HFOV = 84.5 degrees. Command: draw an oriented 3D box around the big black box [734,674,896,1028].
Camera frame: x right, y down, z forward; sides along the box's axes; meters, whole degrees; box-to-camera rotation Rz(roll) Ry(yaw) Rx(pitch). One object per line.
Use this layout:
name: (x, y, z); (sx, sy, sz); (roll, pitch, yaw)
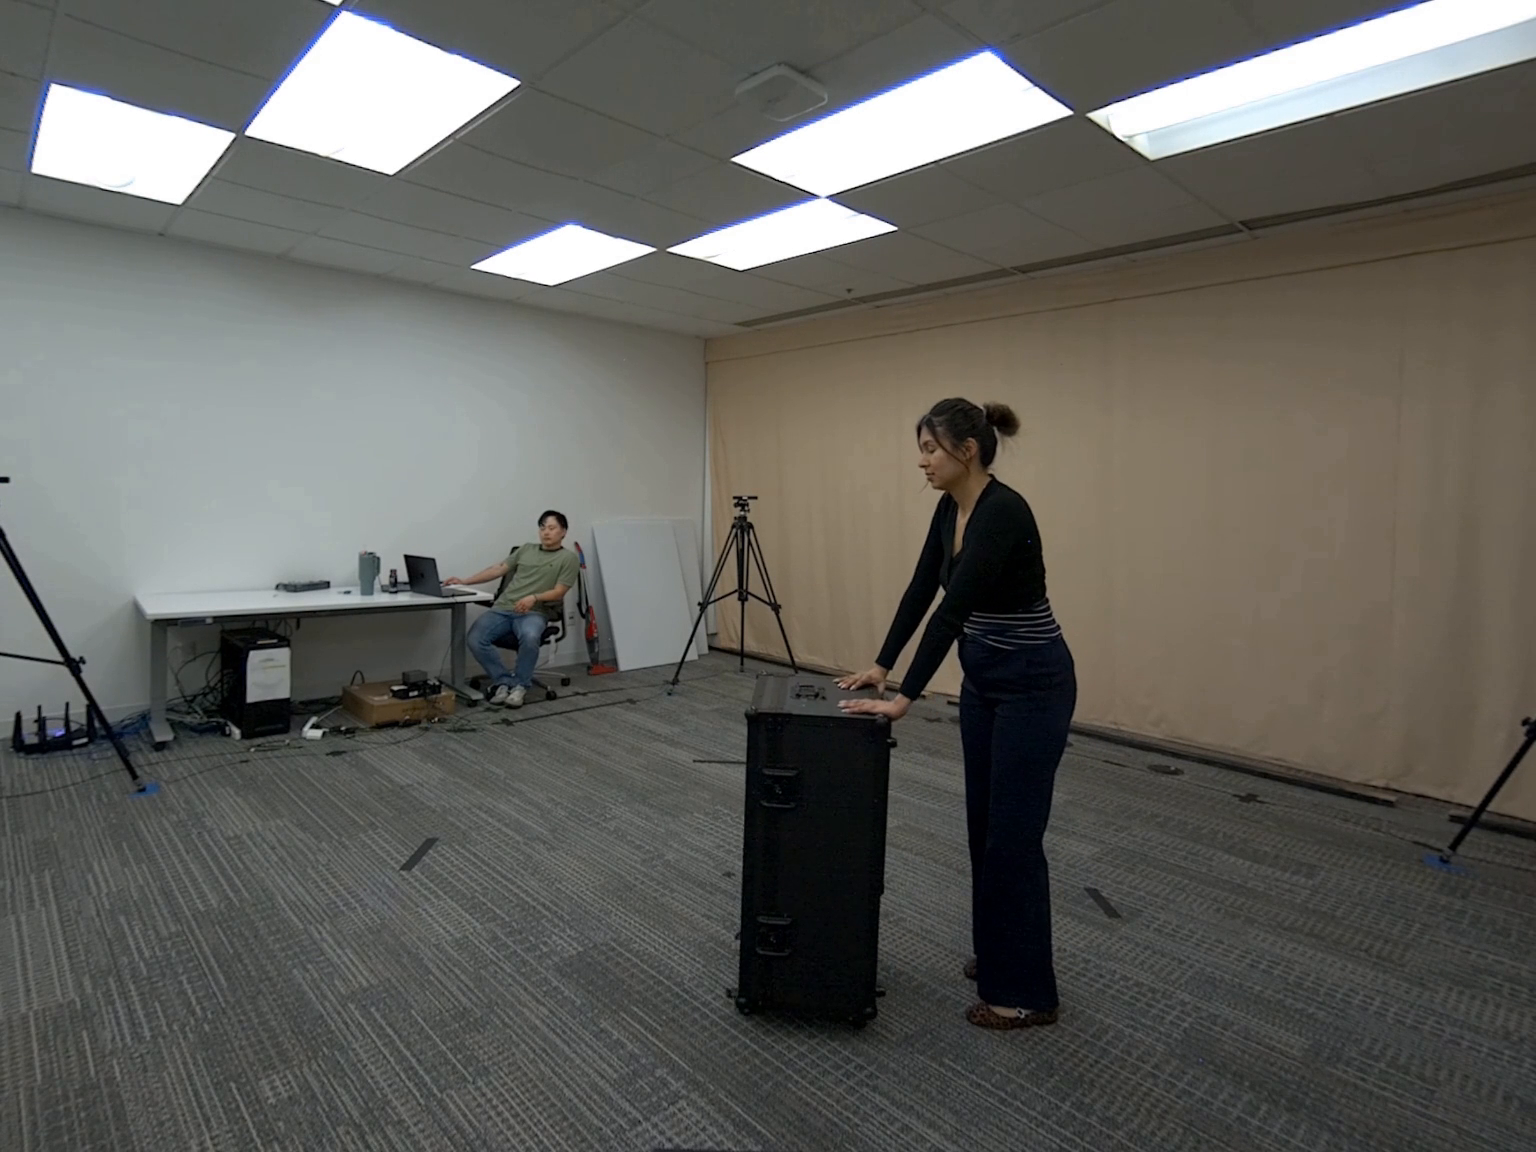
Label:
big black box: (0.131, 0.747, 2.379); (0.397, 0.859, 0.521); (3, 4, 2)
